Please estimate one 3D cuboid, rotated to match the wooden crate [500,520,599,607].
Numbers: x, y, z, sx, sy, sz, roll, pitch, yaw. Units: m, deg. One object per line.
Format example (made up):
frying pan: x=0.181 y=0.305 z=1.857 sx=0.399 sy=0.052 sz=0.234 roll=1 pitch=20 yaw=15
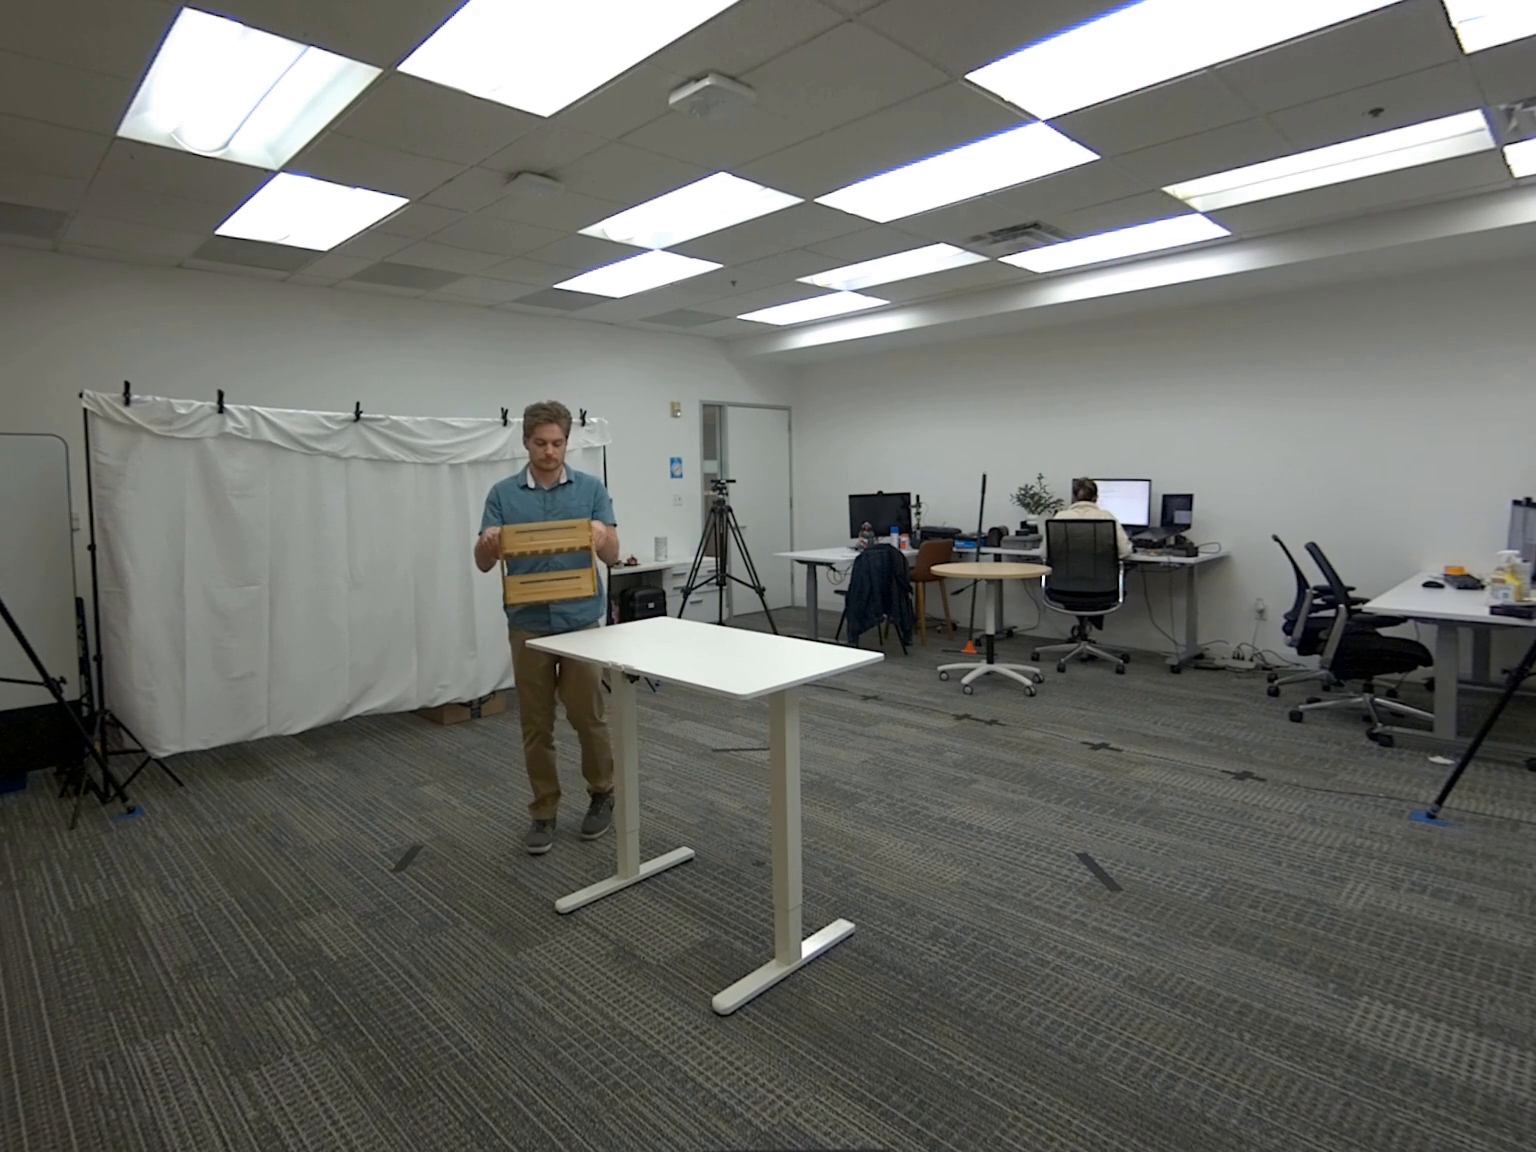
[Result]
wooden crate: x=-0.783 y=-0.045 z=3.027 sx=0.321 sy=0.274 sz=0.304 roll=-6 pitch=-3 yaw=-13
